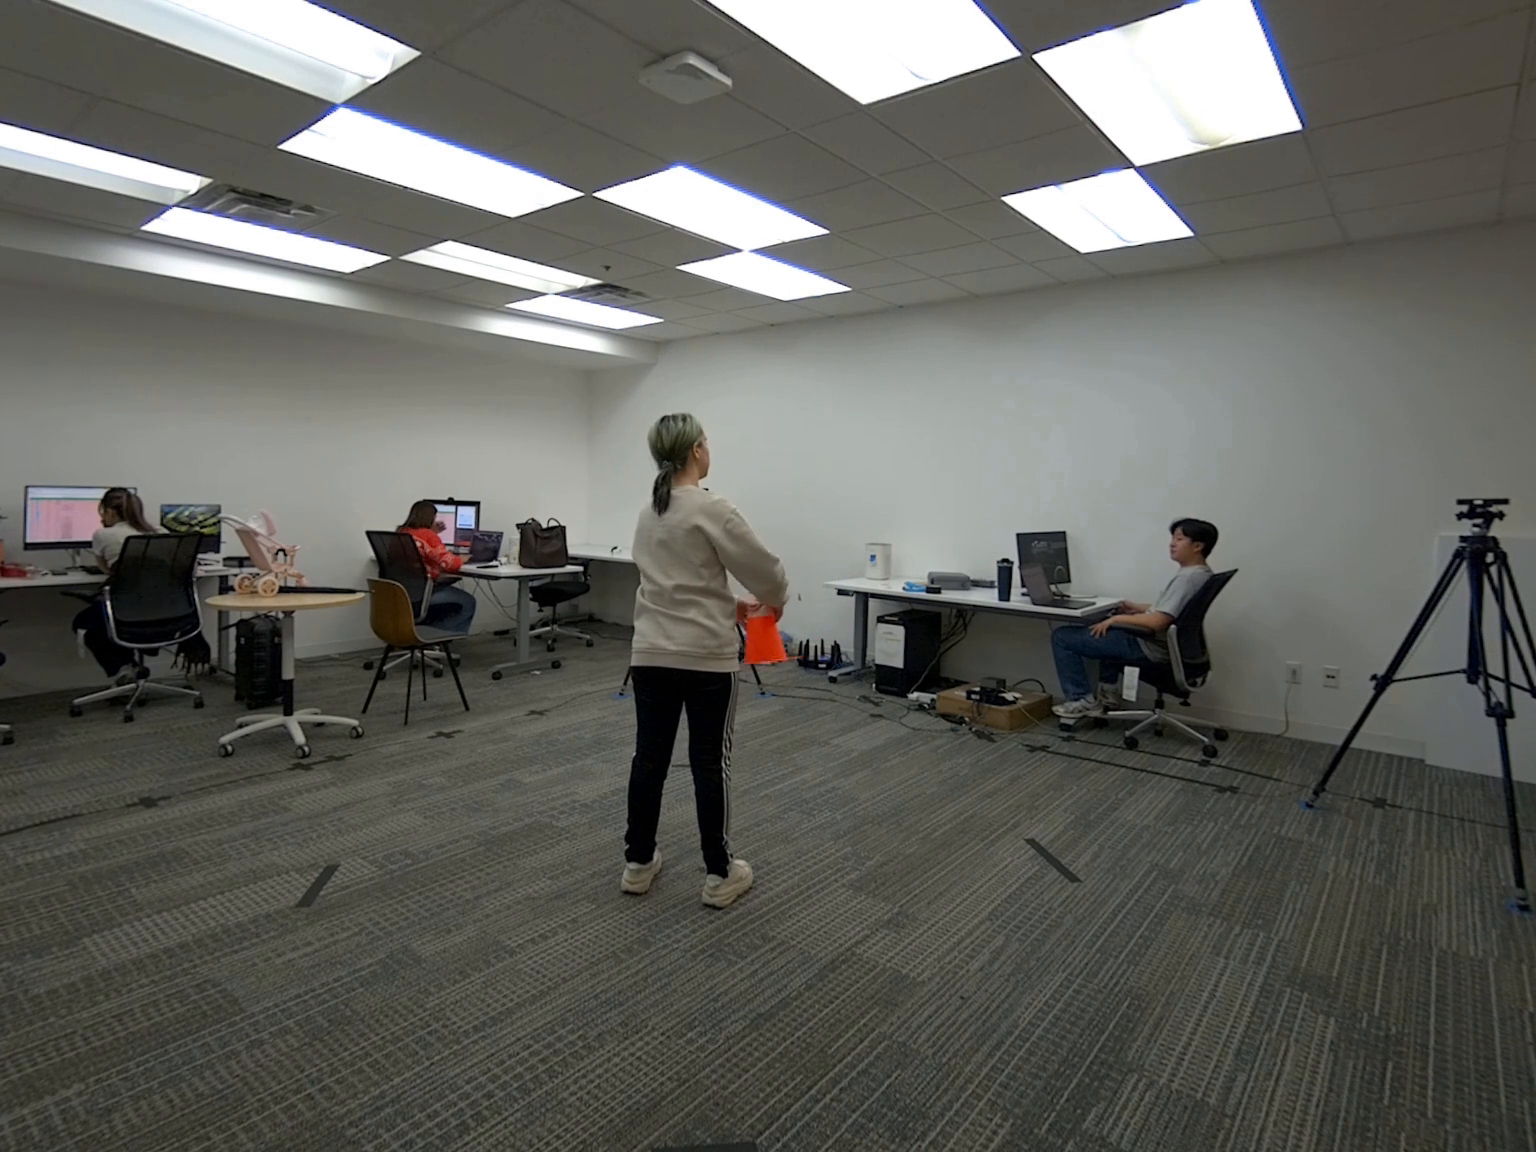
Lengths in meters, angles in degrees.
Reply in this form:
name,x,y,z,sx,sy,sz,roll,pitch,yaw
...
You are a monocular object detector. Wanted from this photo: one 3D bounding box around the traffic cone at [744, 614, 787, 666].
name,x,y,z,sx,sy,sz,roll,pitch,yaw
traffic cone,-0.049,0.122,3.187,0.210,0.387,0.197,-11,-8,33
